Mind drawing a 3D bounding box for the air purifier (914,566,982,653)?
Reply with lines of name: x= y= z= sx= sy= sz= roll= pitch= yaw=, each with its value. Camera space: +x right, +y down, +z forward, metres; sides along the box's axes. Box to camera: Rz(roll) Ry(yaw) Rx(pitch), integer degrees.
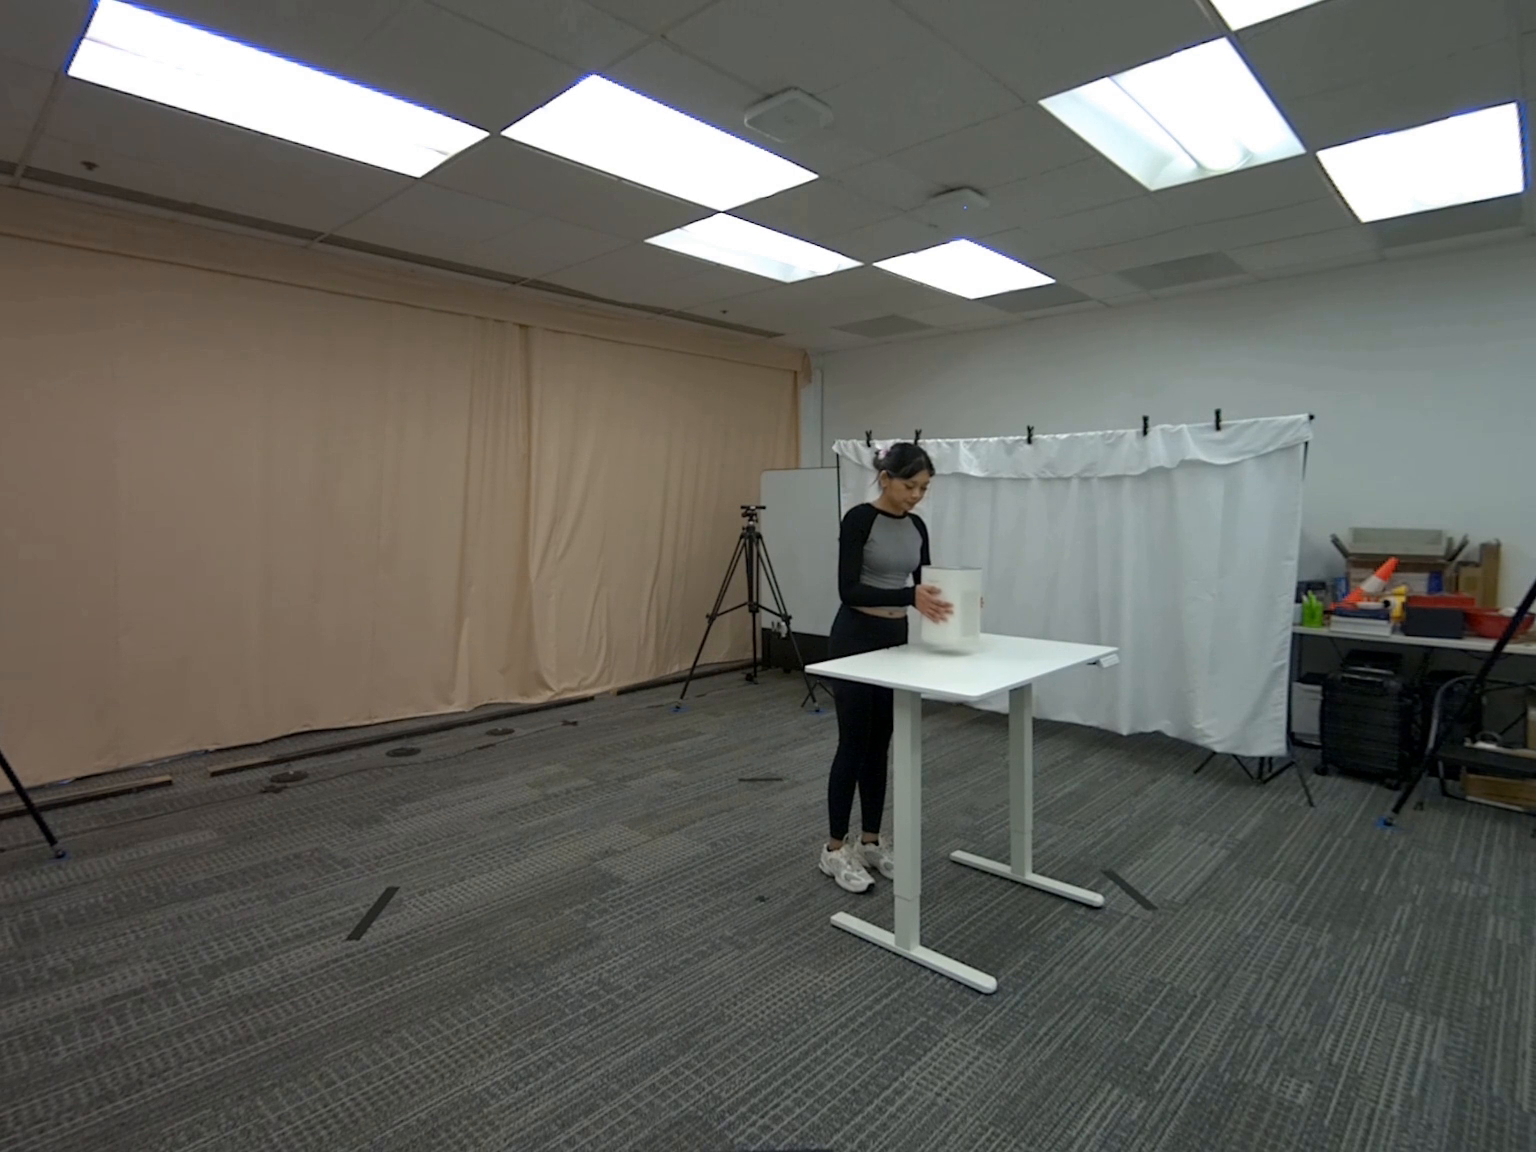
air purifier: x=0.630 y=0.102 z=2.892 sx=0.166 sy=0.265 sz=0.177 roll=-2 pitch=4 yaw=-40
